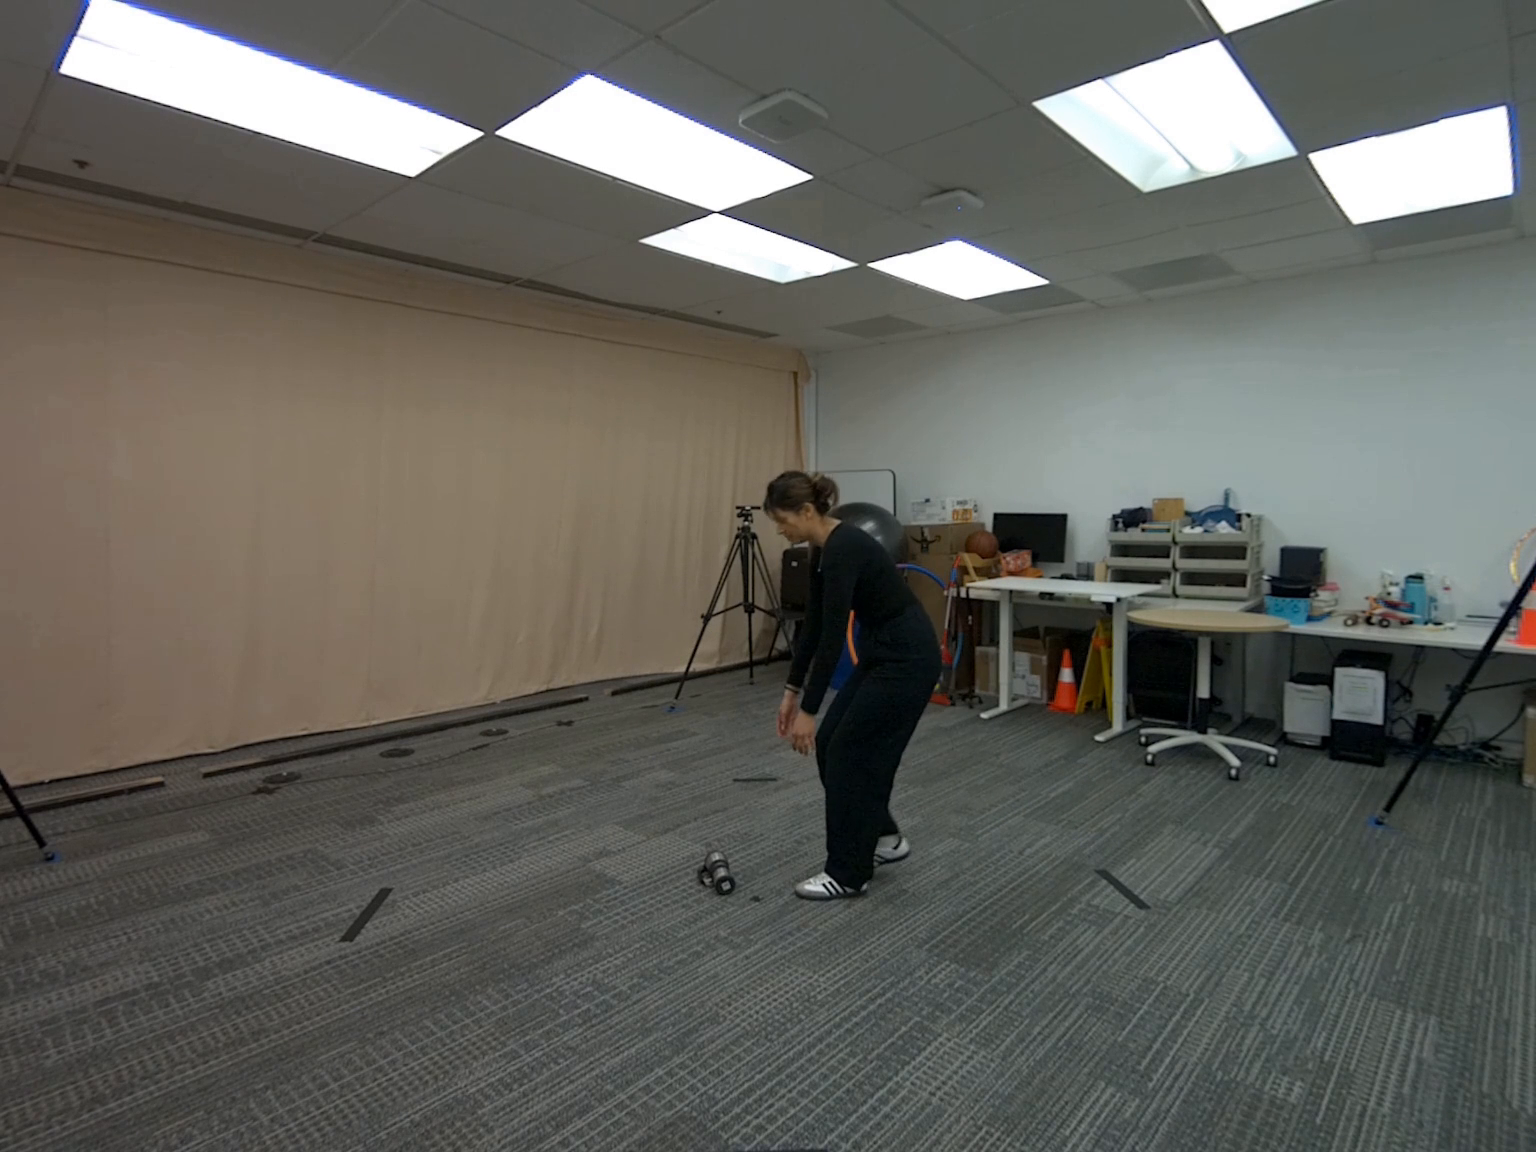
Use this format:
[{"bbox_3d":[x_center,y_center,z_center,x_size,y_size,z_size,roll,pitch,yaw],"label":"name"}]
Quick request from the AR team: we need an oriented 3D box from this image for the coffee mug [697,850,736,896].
[{"bbox_3d":[-0.187,1.109,3.107,0.086,0.122,0.207,42,-2,-17],"label":"coffee mug"}]
